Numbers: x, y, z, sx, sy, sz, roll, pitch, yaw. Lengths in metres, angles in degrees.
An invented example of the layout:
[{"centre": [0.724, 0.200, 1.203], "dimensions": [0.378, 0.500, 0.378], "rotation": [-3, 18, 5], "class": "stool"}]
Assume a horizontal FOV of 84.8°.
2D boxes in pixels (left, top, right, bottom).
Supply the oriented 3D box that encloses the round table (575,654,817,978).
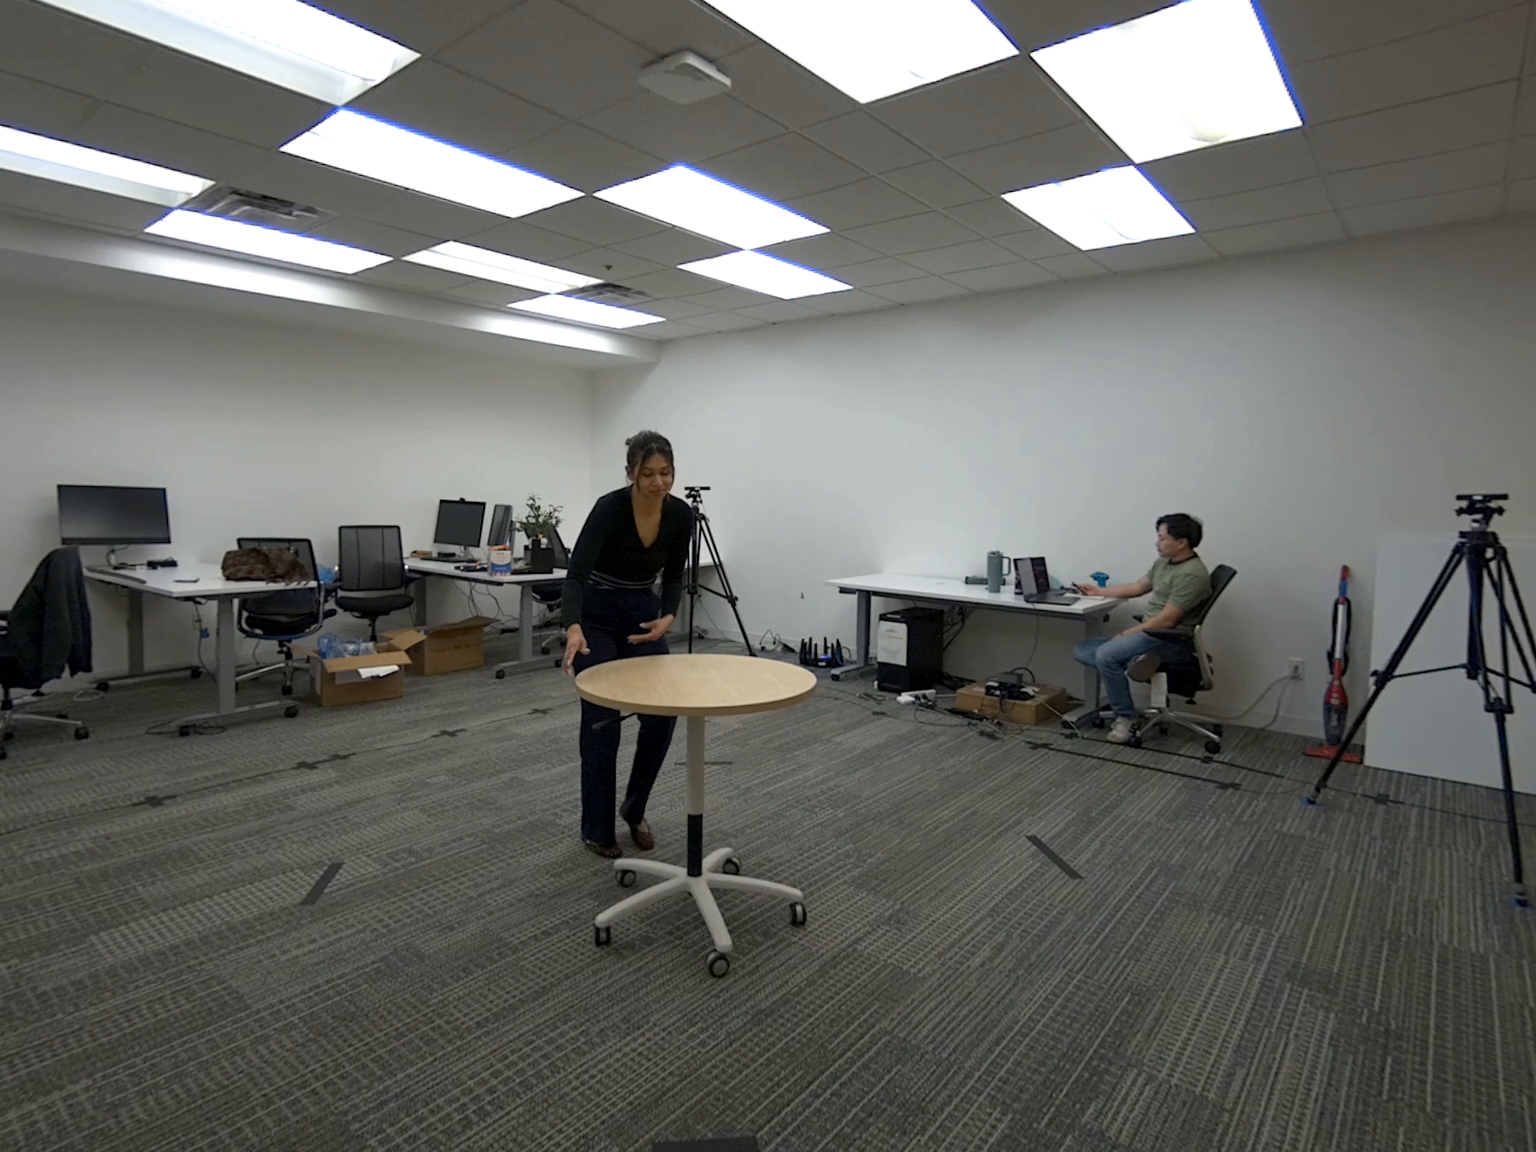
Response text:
[{"centre": [-0.244, 0.712, 2.735], "dimensions": [0.763, 0.791, 0.768], "rotation": [1, 4, -2], "class": "round table"}]
